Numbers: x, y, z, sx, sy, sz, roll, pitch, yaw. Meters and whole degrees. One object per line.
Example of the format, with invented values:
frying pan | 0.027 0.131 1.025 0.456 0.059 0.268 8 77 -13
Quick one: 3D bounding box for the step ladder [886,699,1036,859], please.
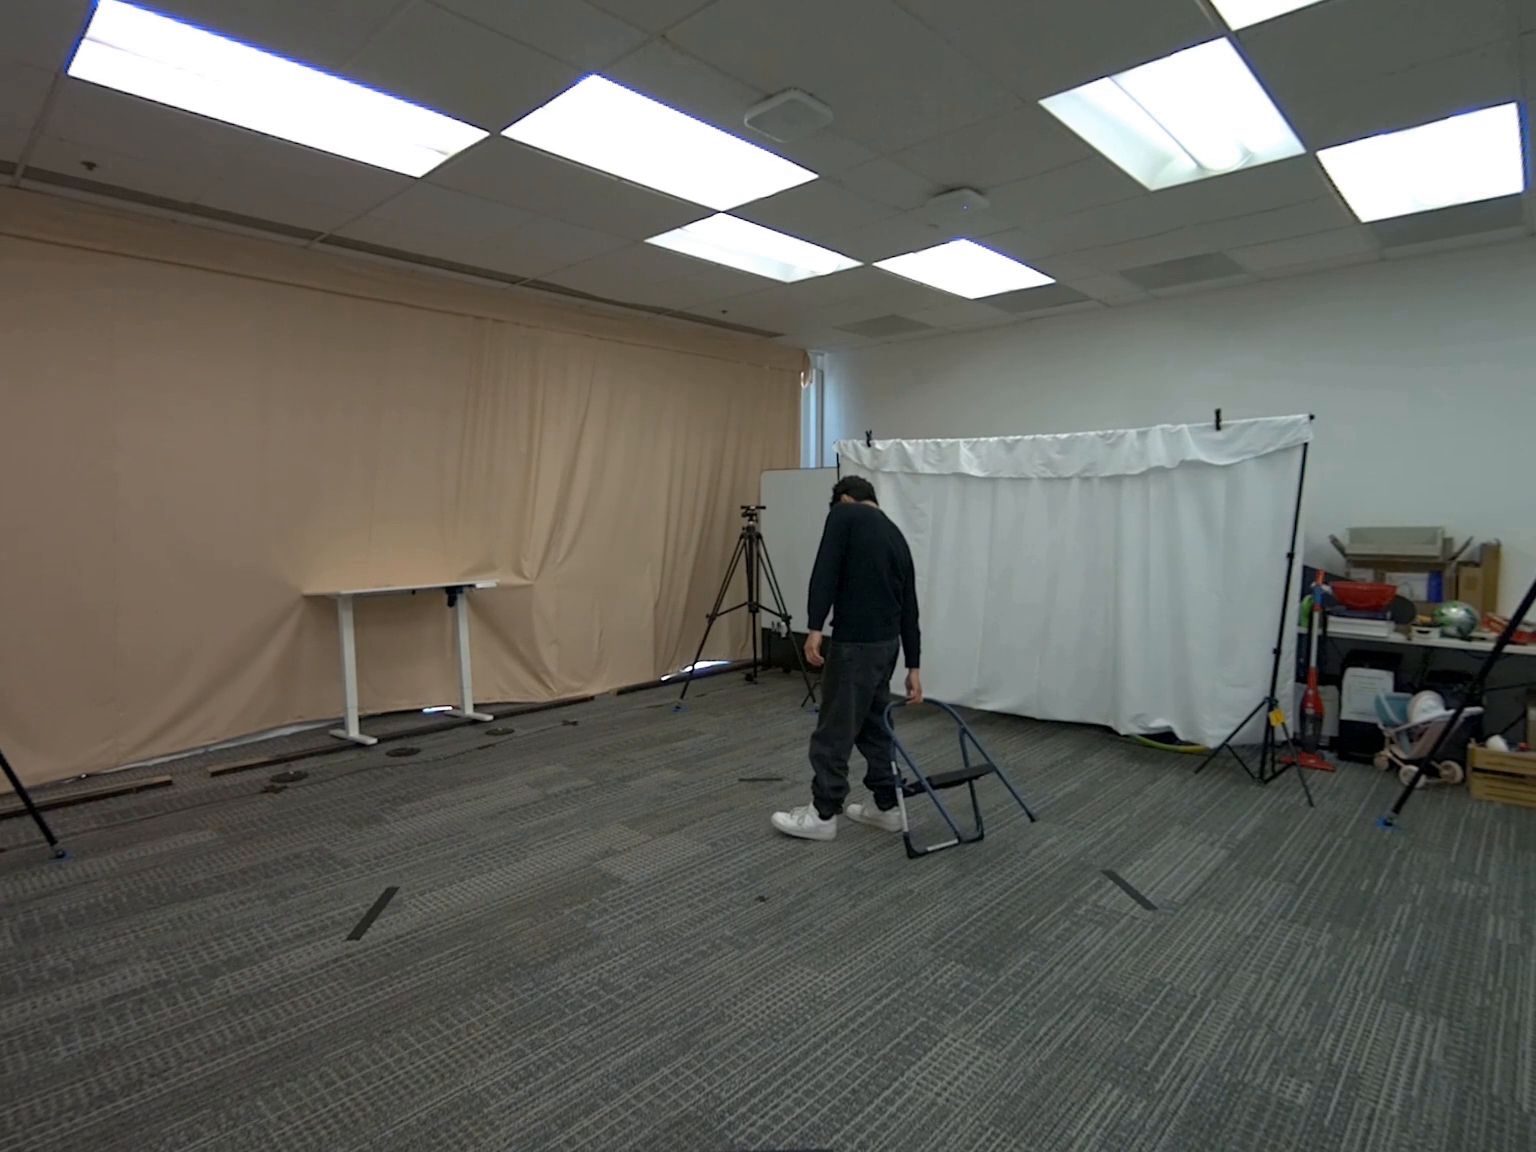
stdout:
step ladder | 0.729 0.769 3.417 0.418 0.618 0.352 -2 -28 -33
